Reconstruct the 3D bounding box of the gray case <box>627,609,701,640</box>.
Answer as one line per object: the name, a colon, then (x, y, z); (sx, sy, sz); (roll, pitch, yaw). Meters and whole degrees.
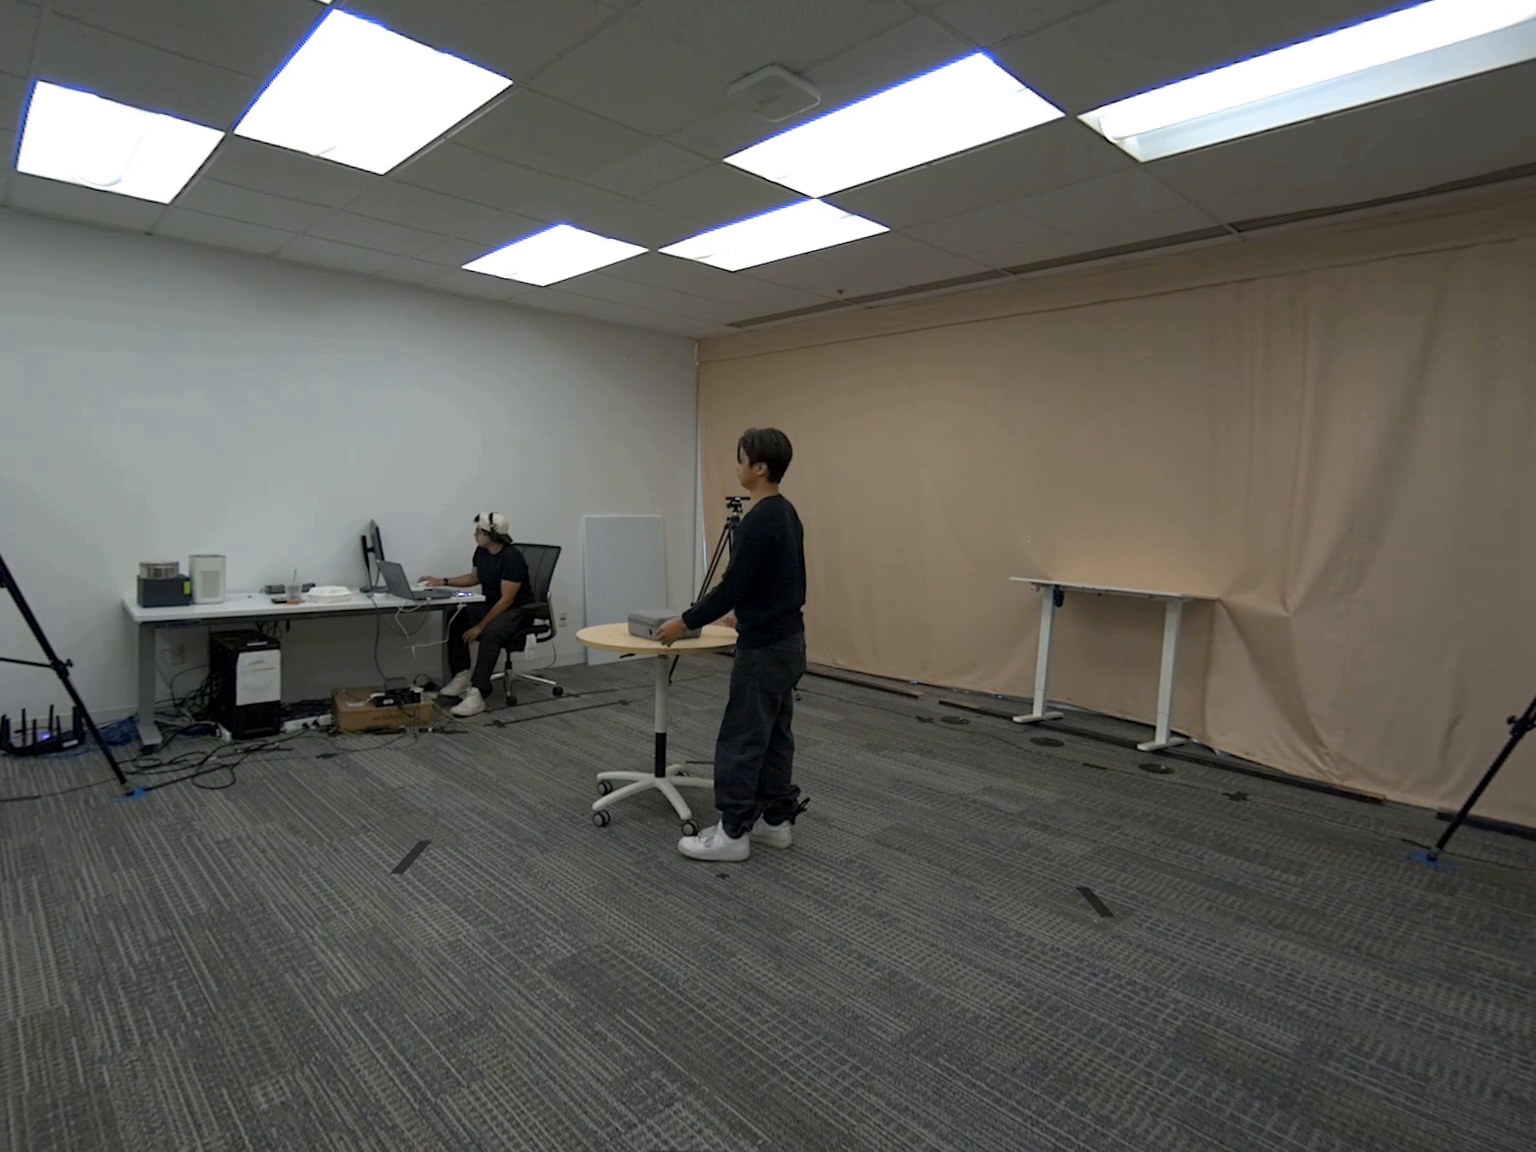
gray case: (-0.459, 0.209, 3.708); (0.251, 0.104, 0.267); (-1, 6, -40)
